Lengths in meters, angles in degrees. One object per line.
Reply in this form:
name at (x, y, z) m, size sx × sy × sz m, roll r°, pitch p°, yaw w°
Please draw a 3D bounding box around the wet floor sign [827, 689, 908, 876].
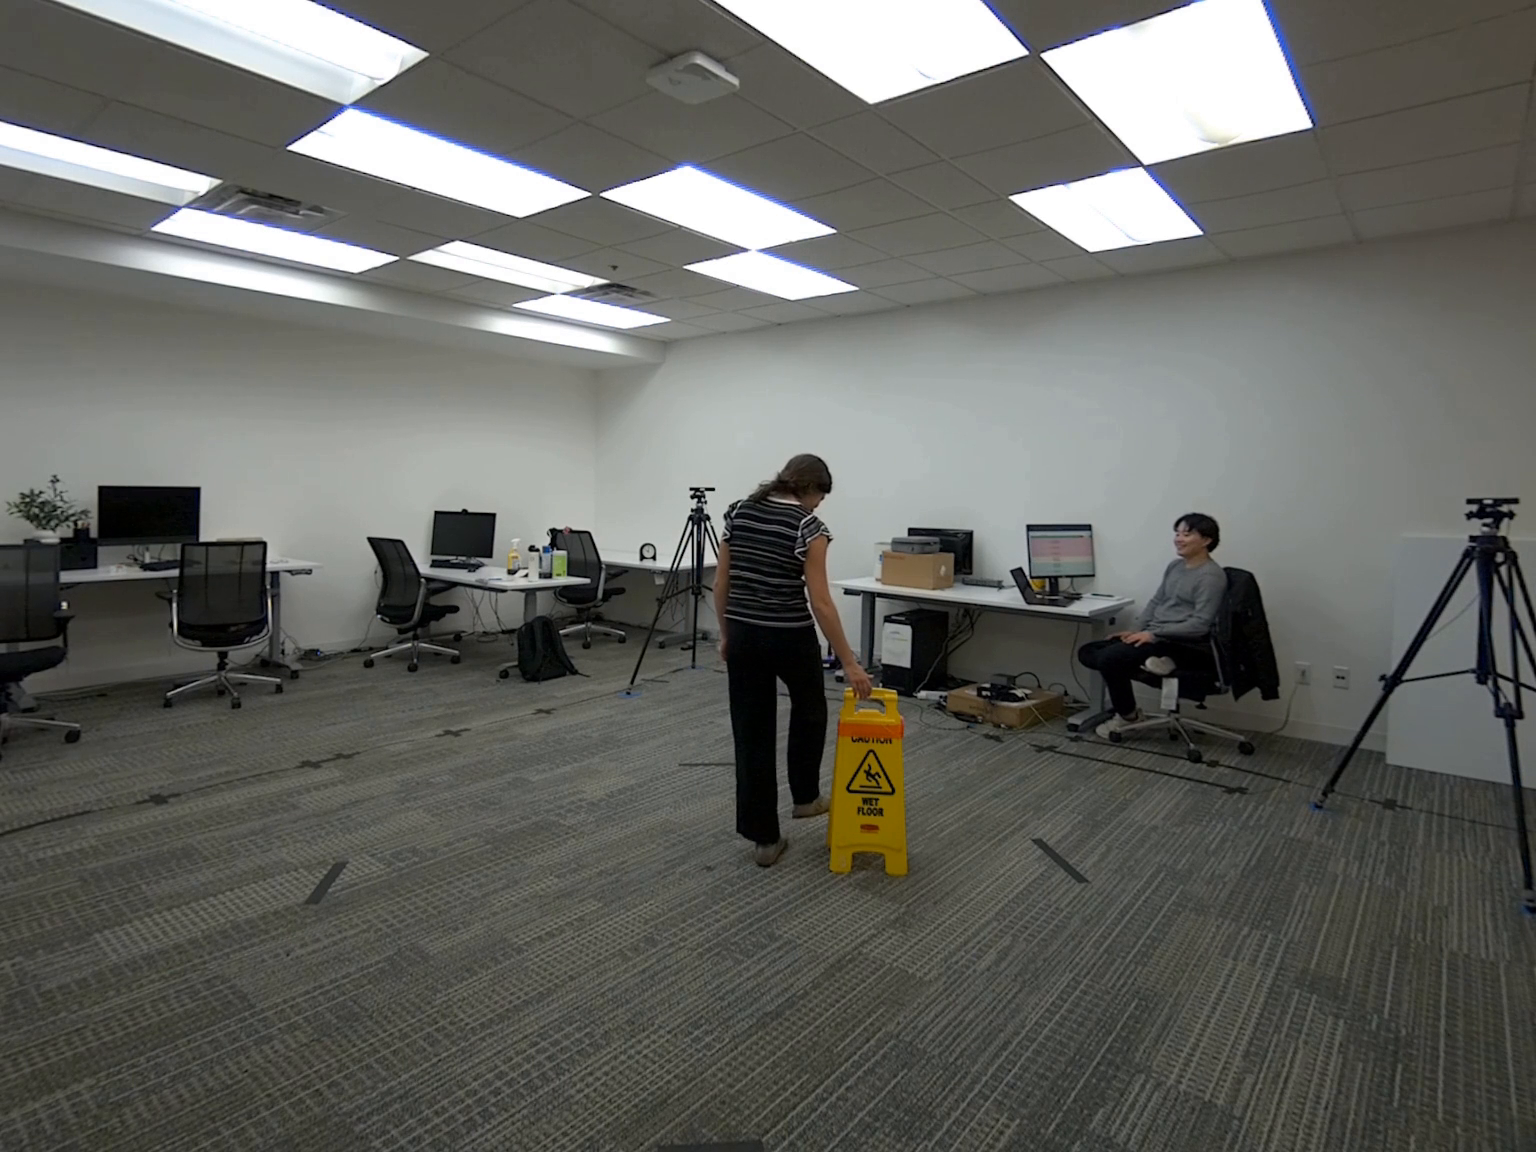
wet floor sign at (0.371, 0.746, 3.199) m, size 0.283 × 0.643 × 0.290 m, roll 1°, pitch 4°, yaw 1°
